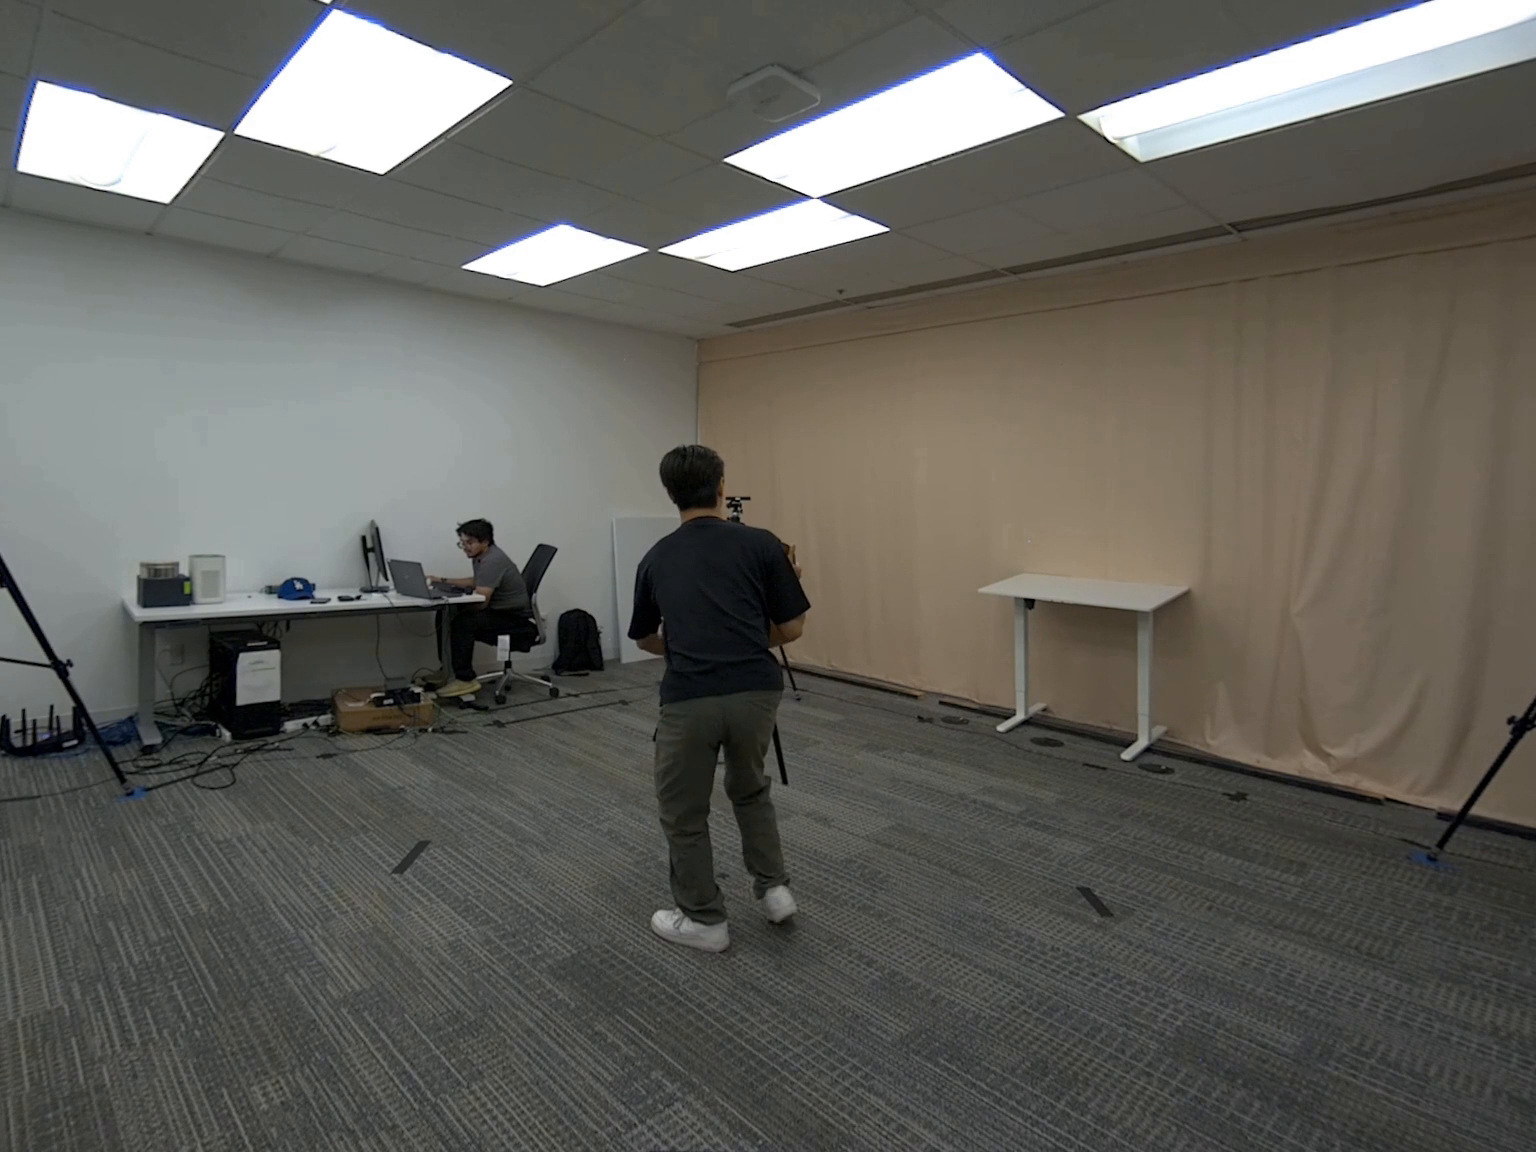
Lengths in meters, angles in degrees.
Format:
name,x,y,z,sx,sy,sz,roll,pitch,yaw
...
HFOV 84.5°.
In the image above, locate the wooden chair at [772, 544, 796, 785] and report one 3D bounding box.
name,x,y,z,sx,sy,sz,roll,pitch,yaw
wooden chair,-0.161,0.266,3.058,0.475,0.873,0.529,3,8,-9
